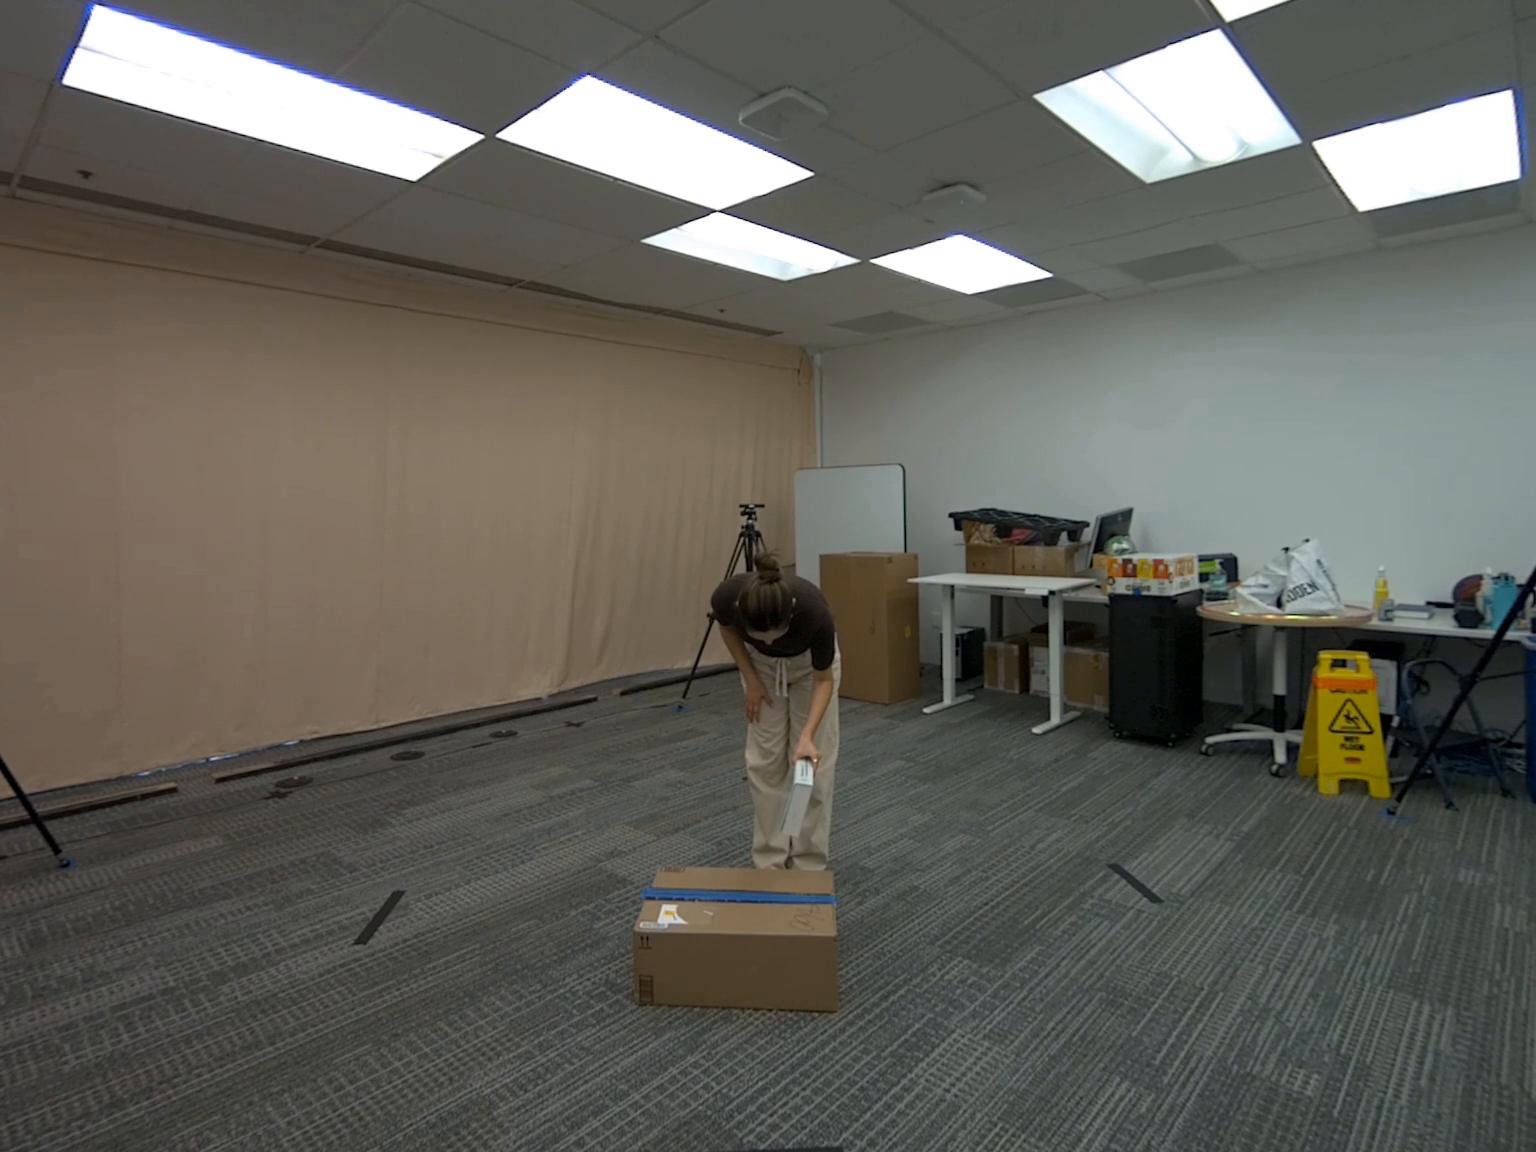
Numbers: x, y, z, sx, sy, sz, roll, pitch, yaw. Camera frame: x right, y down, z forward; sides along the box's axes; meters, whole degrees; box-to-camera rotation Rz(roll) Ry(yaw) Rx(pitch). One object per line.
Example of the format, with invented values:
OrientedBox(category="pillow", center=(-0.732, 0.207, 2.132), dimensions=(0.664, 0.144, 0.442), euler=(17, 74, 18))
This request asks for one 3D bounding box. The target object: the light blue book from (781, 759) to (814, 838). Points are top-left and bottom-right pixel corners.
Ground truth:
OrientedBox(category="light blue book", center=(0.096, 0.677, 2.683), dimensions=(0.059, 0.190, 0.261), euler=(10, 14, 3))
